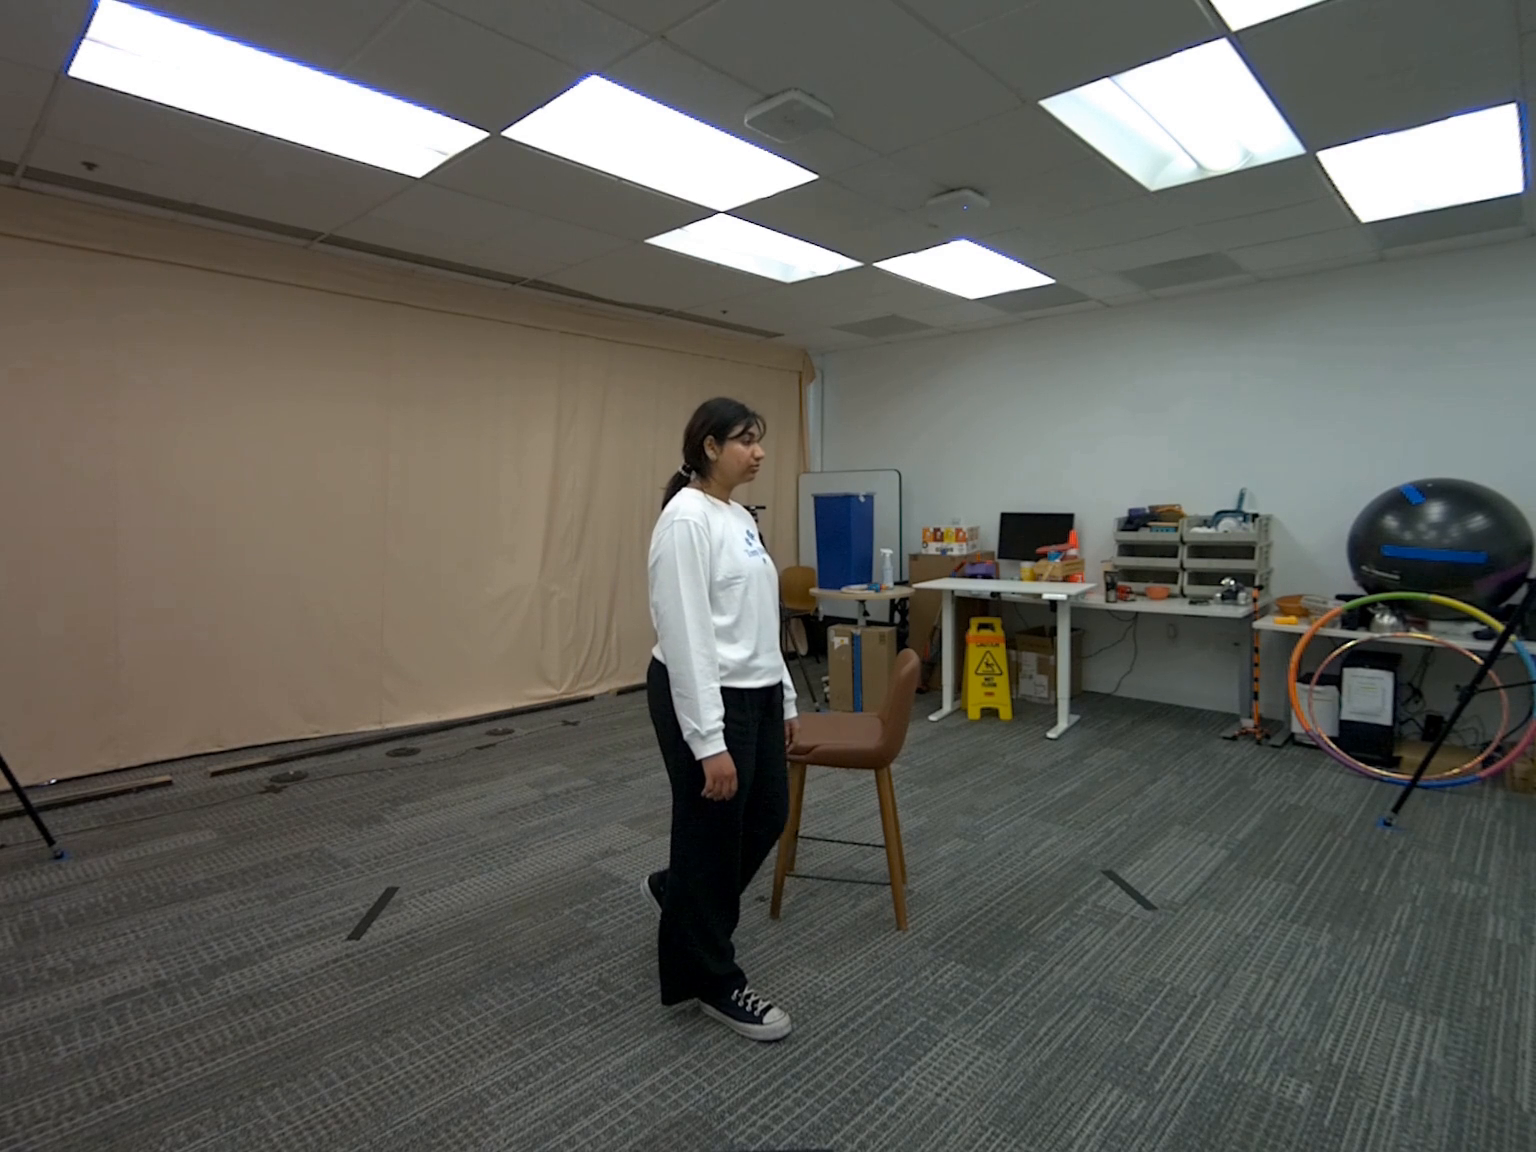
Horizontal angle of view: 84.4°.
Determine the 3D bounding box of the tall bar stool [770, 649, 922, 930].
[{"bbox_3d":[0.276,0.710,2.960,0.474,0.888,0.451,2,4,12],"label":"tall bar stool"}]
